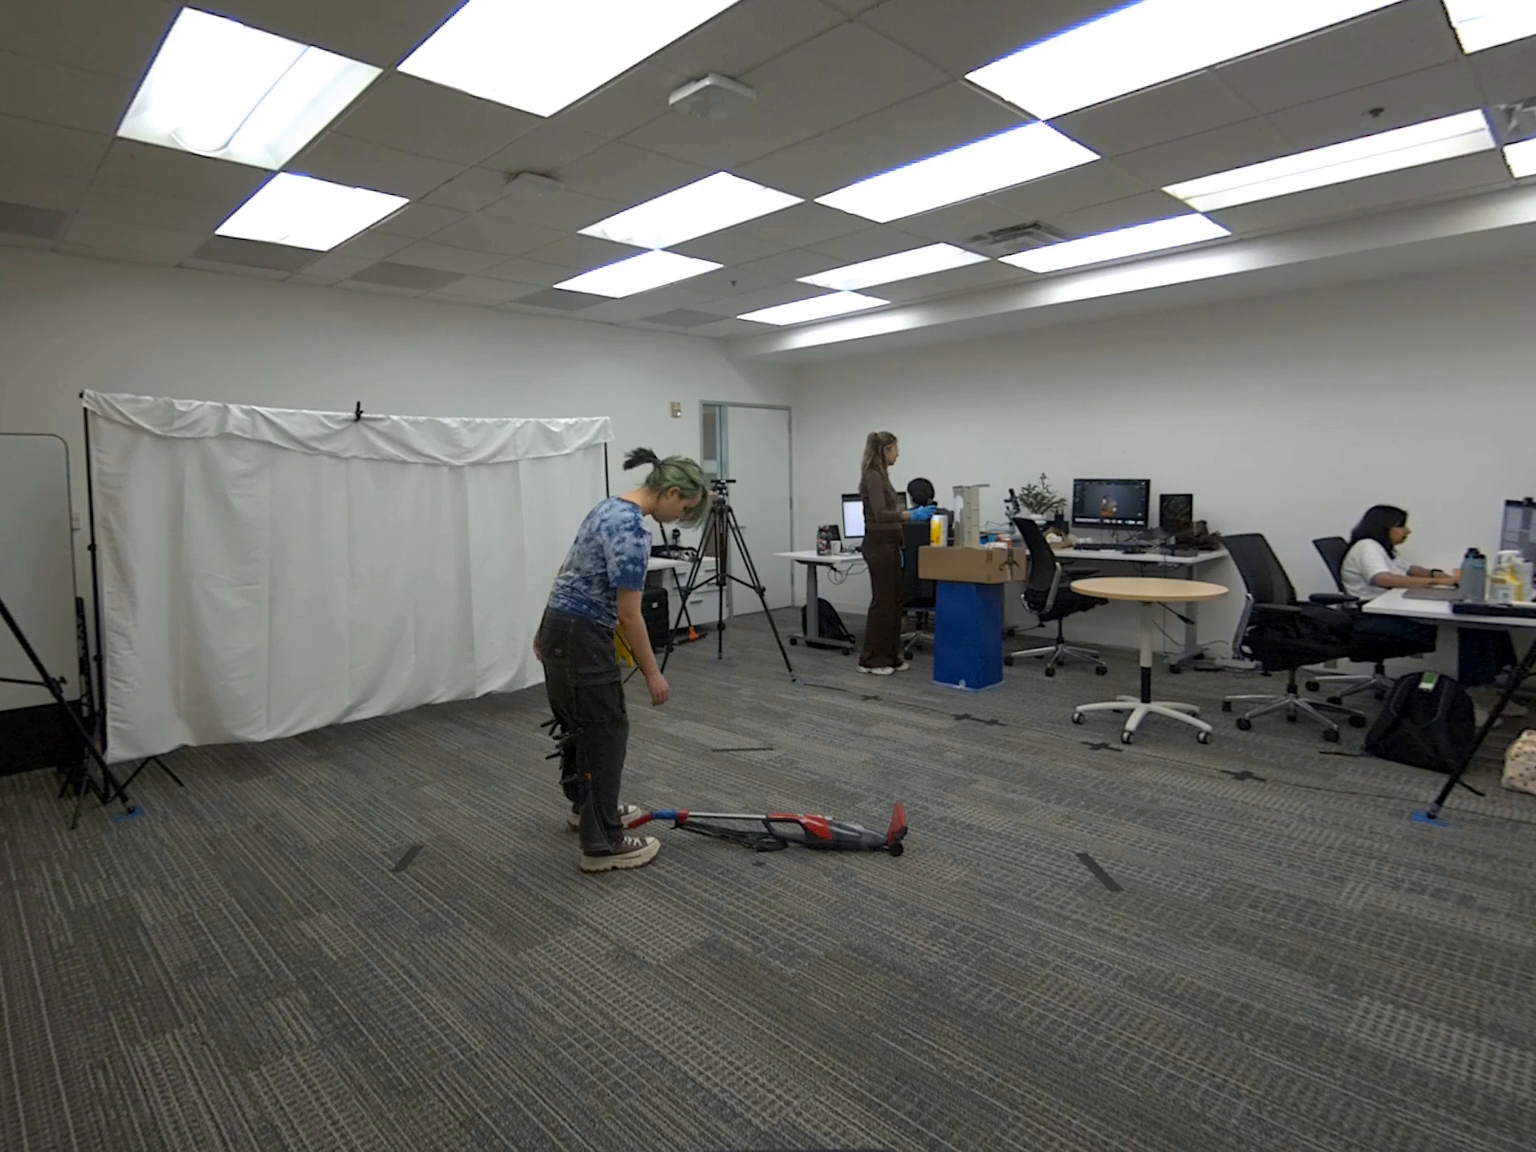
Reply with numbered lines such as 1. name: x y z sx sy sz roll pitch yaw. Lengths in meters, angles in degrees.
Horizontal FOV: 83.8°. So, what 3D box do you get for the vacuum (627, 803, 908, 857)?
1. vacuum: -0.026 0.962 3.250 1.055 0.143 0.252 -1 6 6
